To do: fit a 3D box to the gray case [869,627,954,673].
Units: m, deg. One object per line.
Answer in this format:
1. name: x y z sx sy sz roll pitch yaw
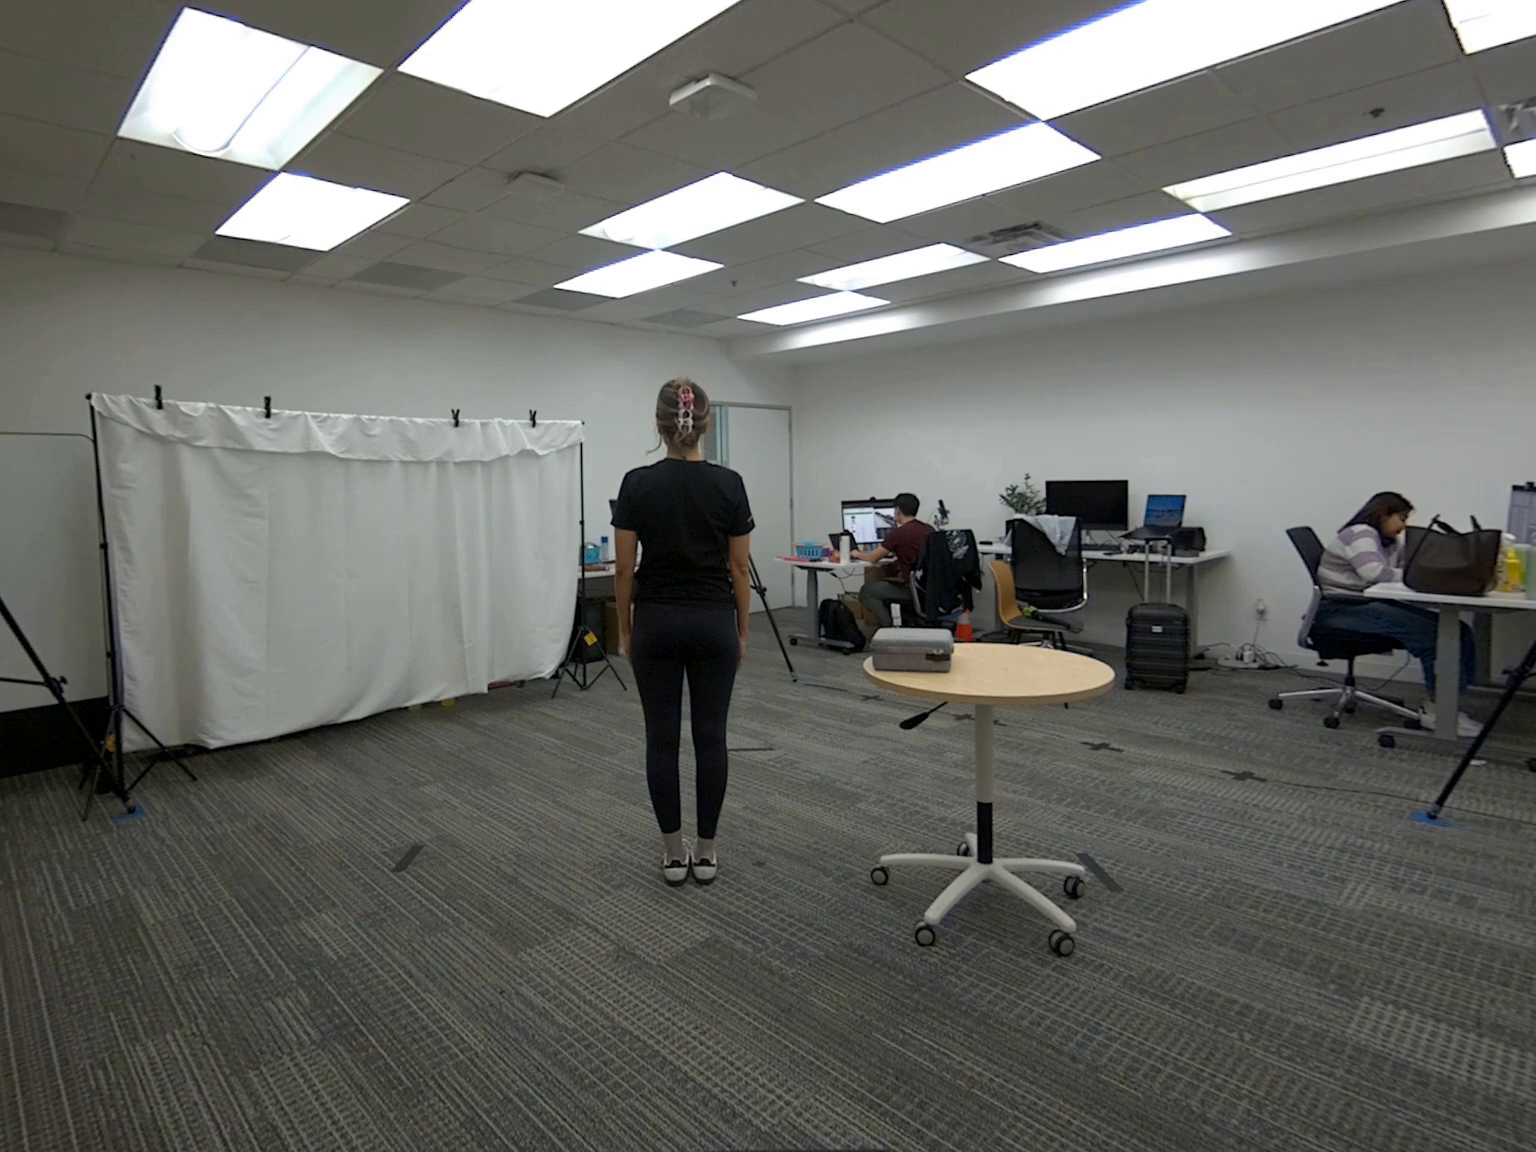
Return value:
1. gray case: 0.466 0.238 2.815 0.261 0.104 0.258 -2 5 16
